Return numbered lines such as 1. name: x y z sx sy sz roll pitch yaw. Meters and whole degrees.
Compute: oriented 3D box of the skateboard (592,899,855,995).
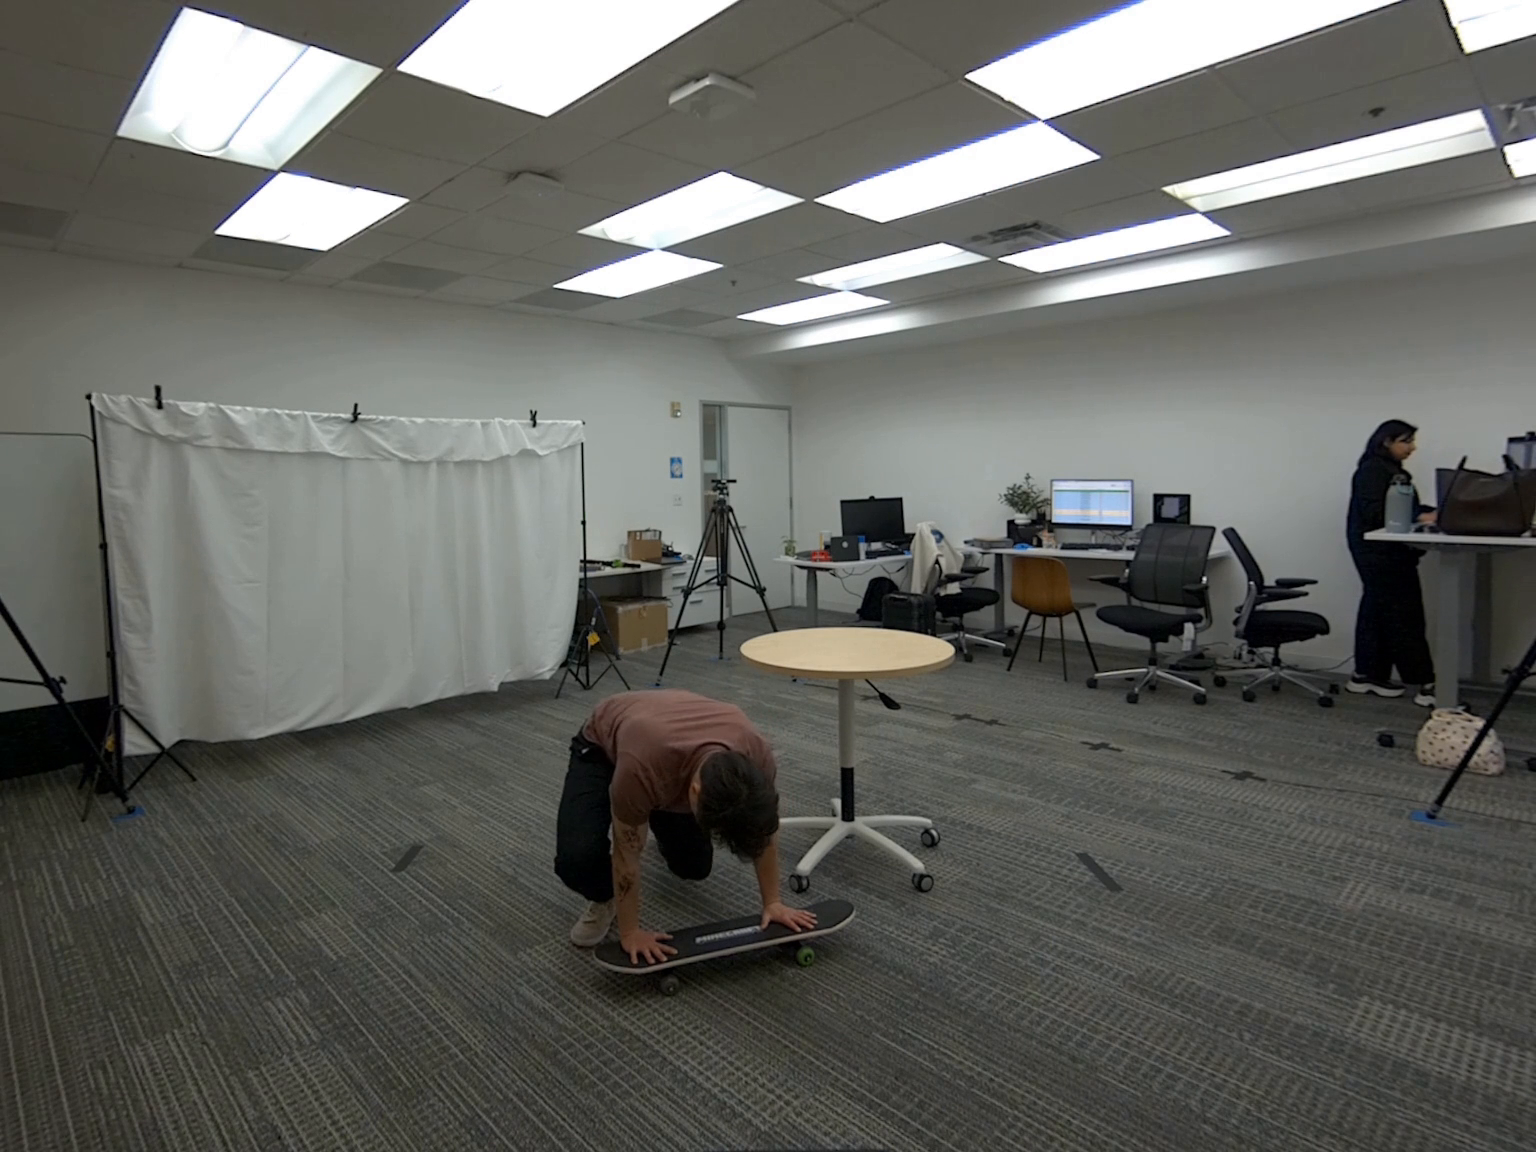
1. skateboard: -0.107 1.068 2.471 0.773 0.110 0.196 -4 1 -18
